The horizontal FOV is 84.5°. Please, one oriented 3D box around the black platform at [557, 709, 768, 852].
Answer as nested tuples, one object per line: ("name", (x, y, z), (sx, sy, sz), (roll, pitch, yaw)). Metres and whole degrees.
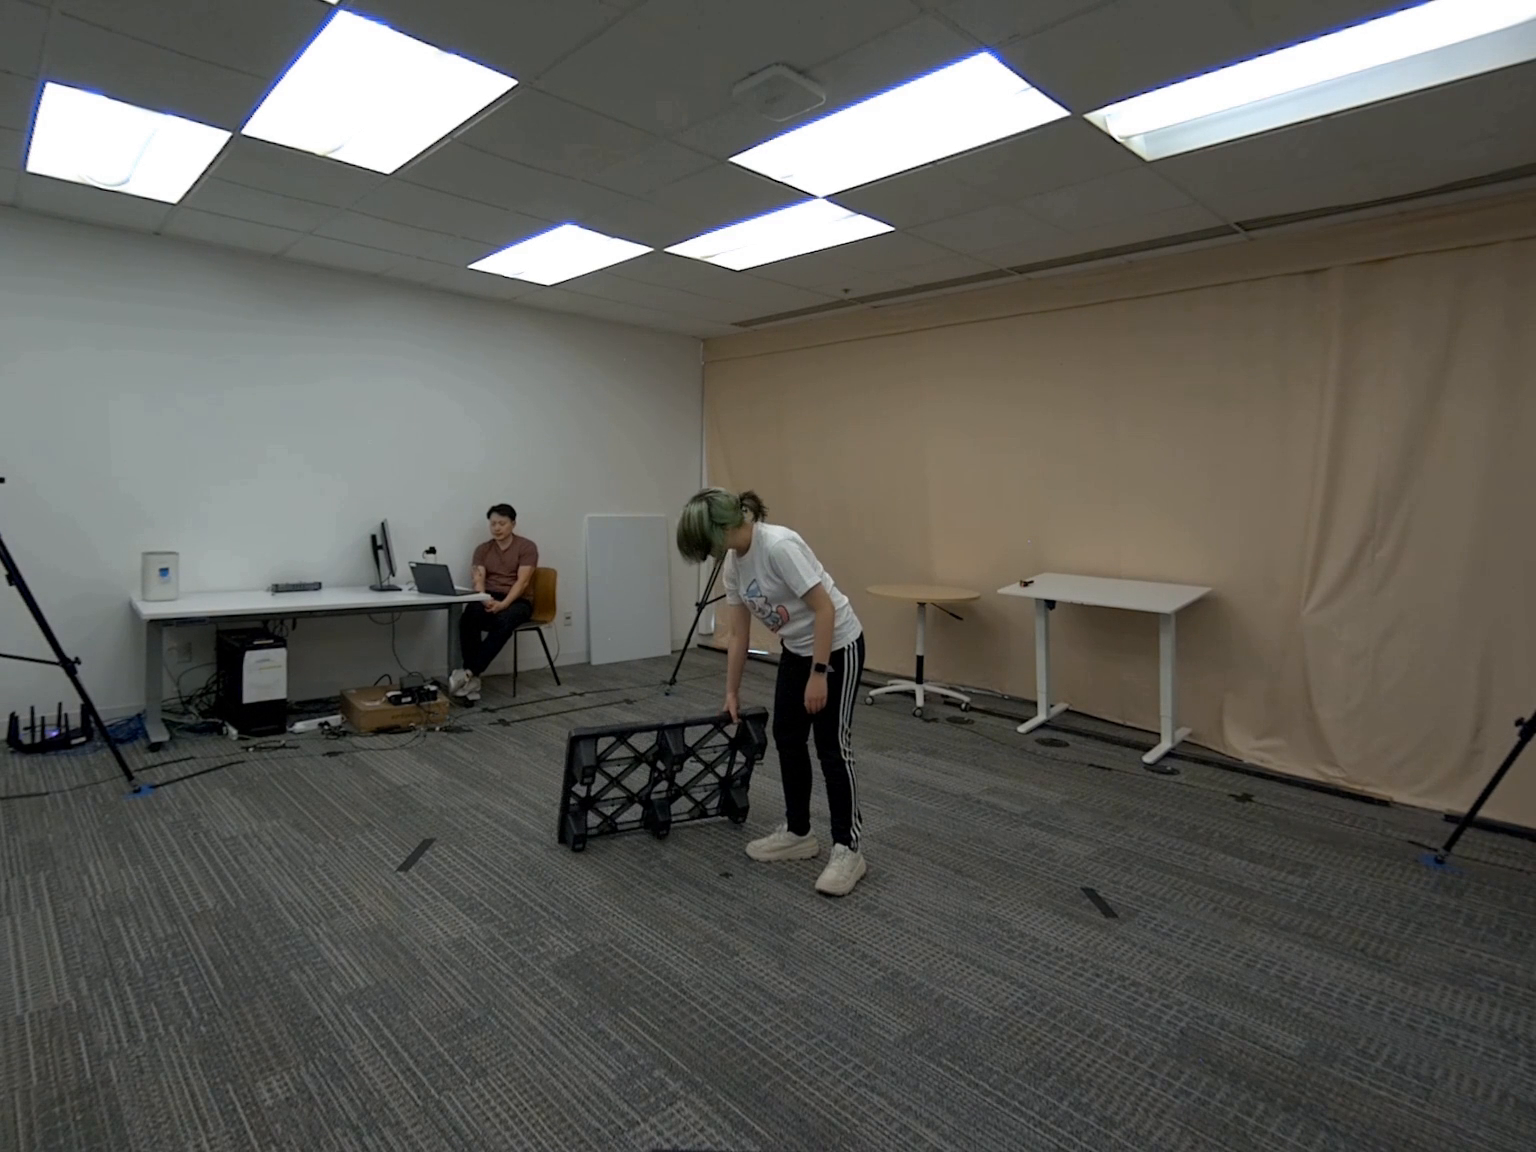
("black platform", (-0.413, 0.823, 3.328), (0.792, 0.596, 0.148), (-2, 35, -23))
